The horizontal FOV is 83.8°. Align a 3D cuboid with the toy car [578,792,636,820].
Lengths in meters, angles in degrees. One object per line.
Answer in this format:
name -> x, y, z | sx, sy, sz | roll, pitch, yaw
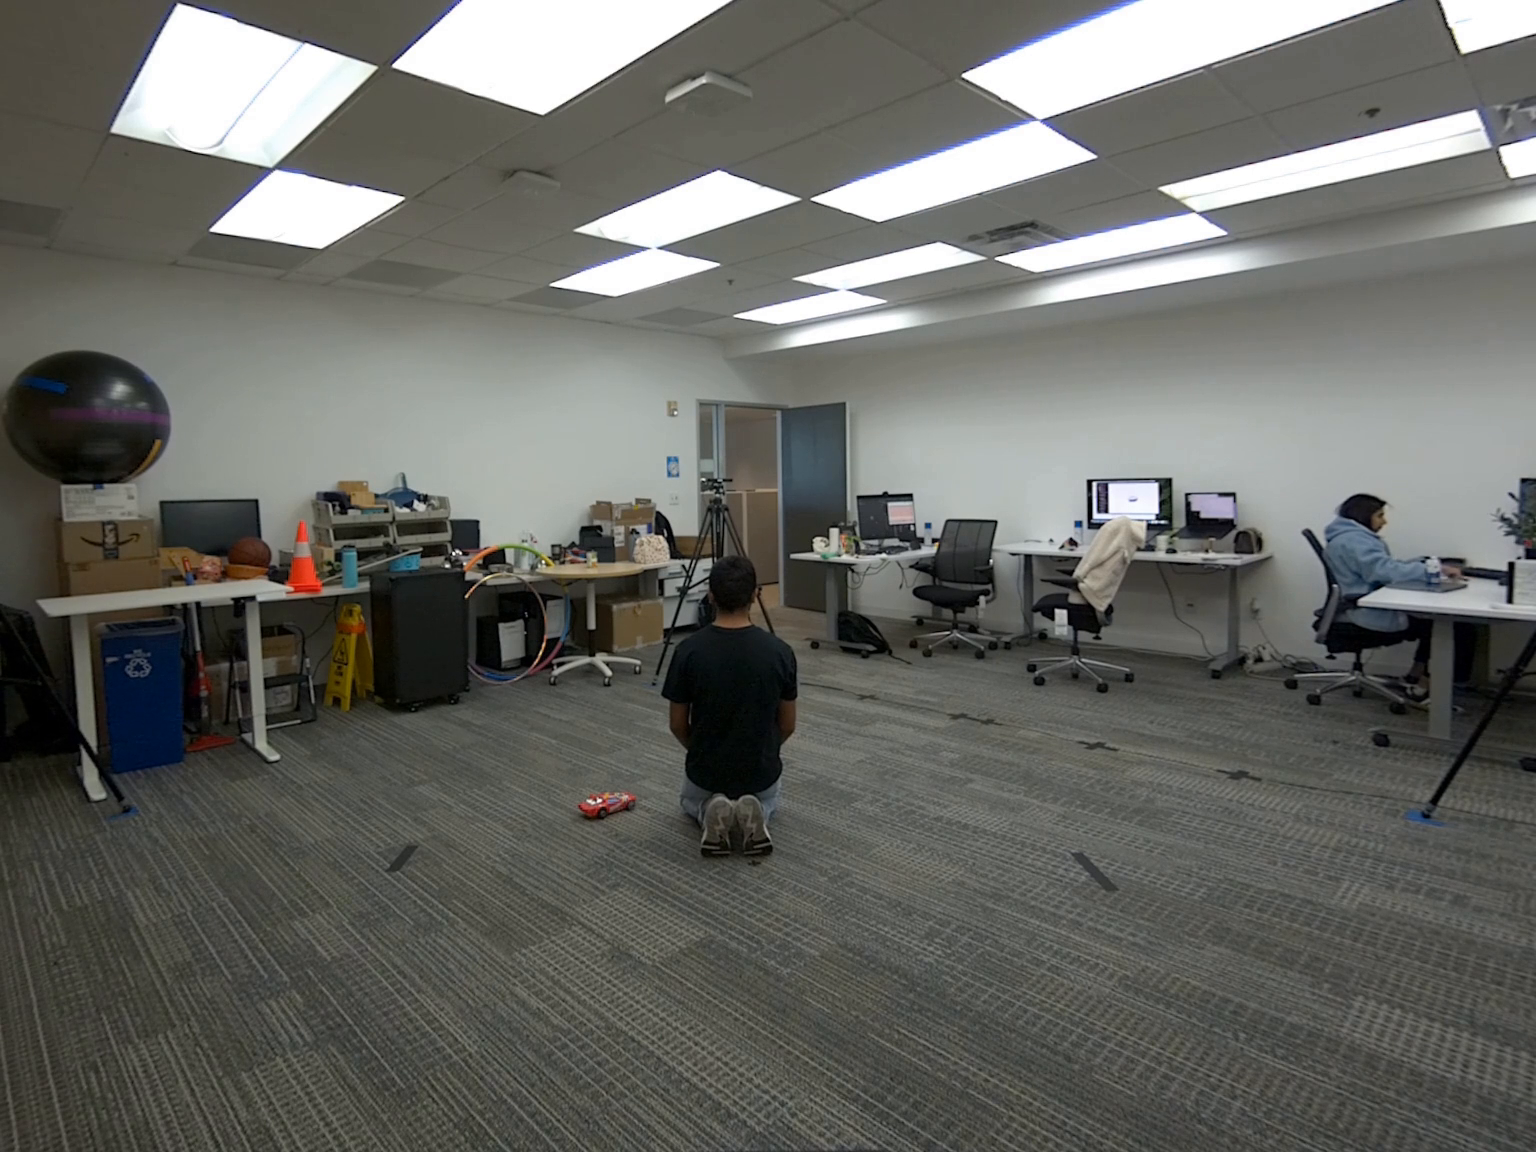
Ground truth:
toy car -> -0.687, 0.963, 3.615 | 0.246, 0.083, 0.134 | 8, -2, -41
